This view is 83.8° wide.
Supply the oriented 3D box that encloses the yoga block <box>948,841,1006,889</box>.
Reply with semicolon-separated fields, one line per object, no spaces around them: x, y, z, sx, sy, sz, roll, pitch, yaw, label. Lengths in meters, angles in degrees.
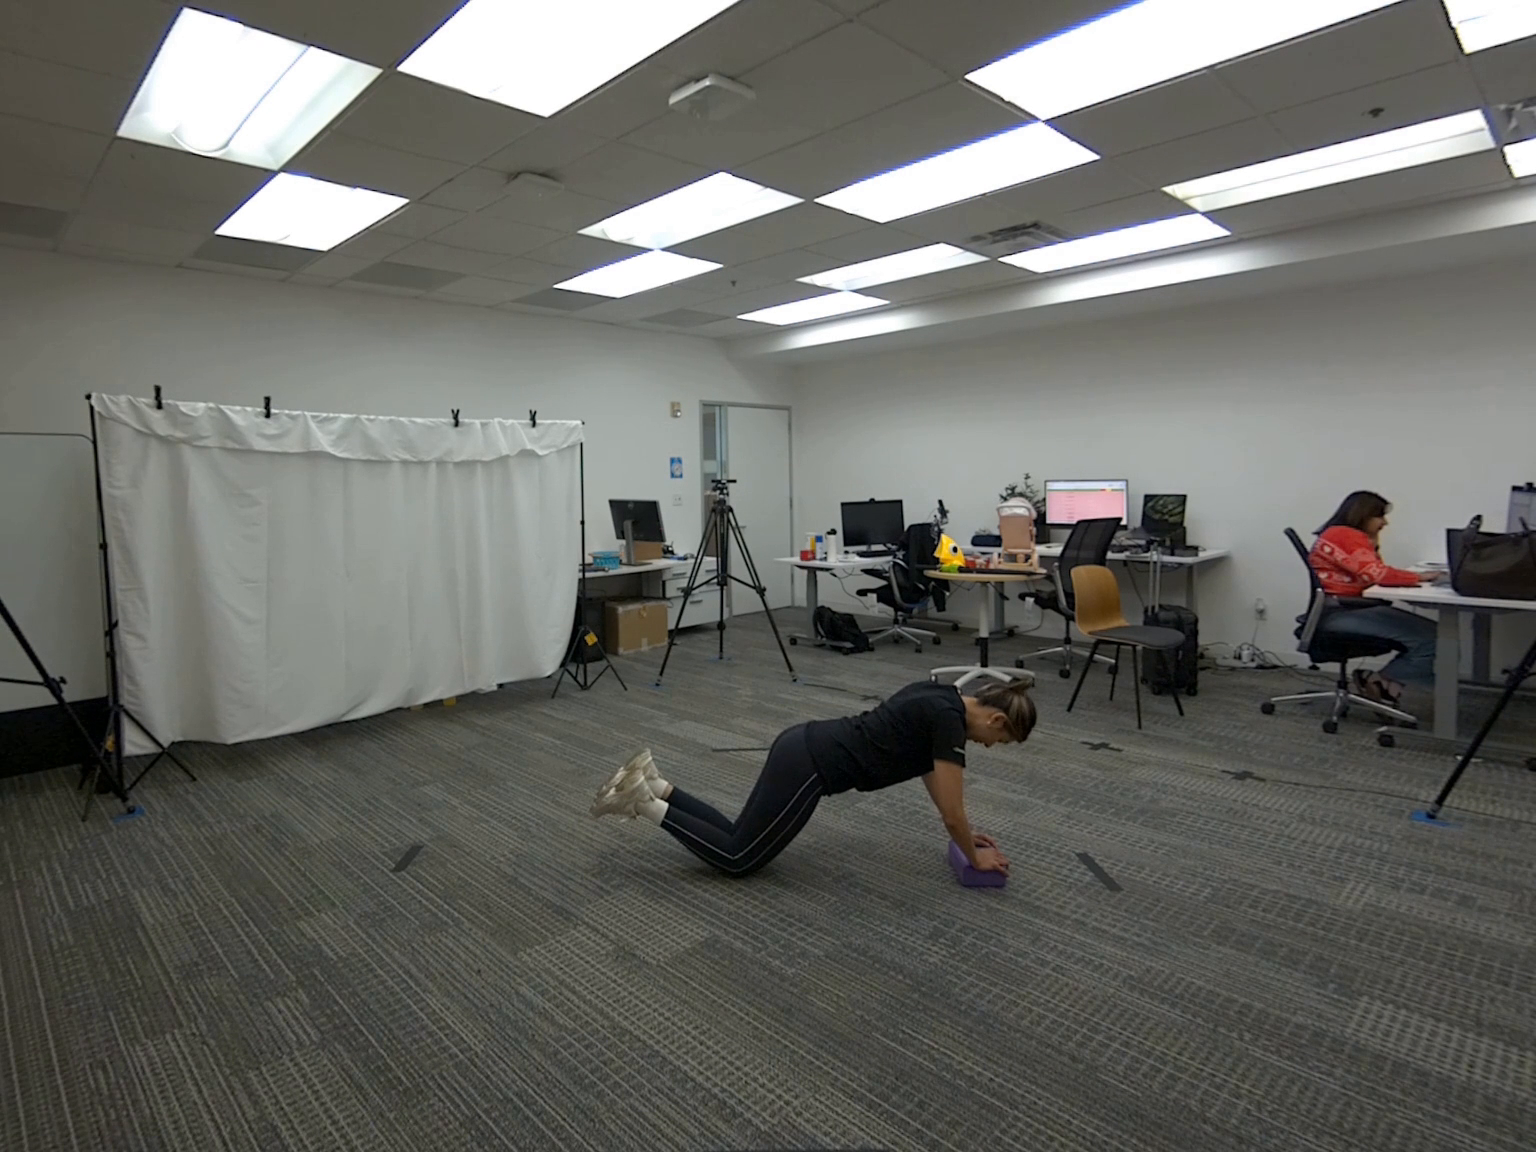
0.728;0.994;3.003;0.149;0.076;0.230;3;6;0;yoga block
